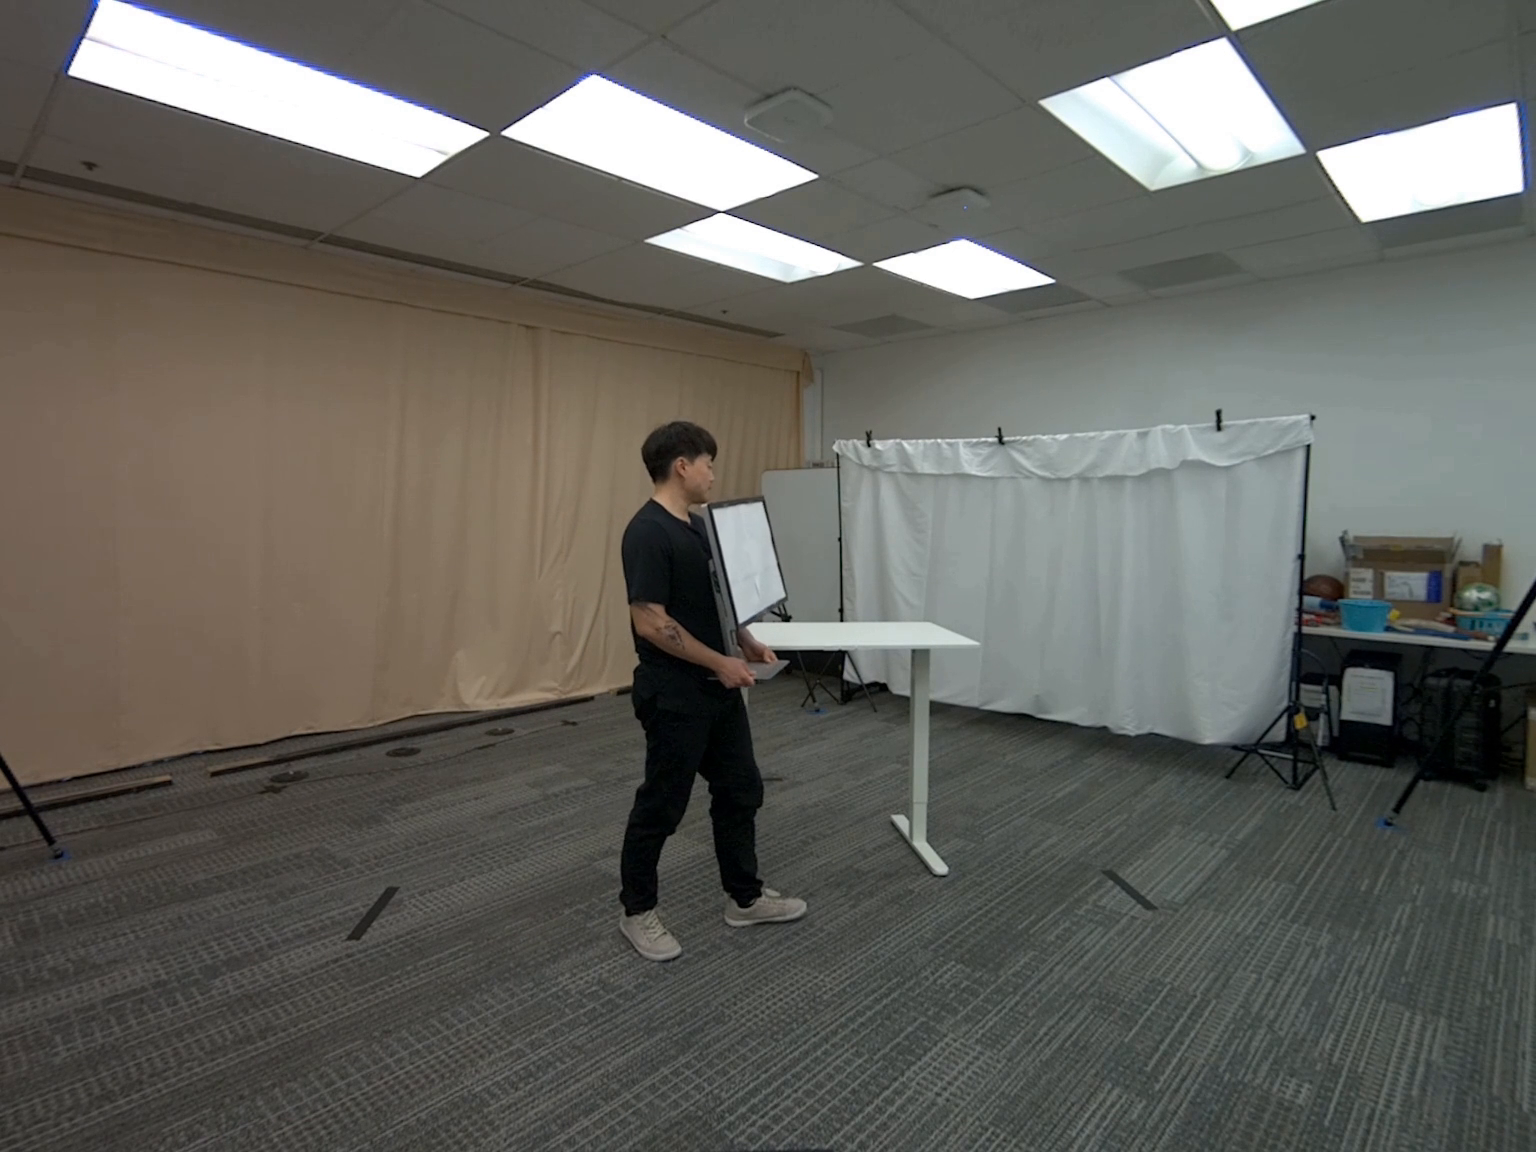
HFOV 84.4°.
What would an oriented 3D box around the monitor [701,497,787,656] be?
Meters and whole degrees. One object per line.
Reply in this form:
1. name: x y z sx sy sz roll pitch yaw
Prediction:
1. monitor: -0.071 0.029 2.598 0.190 0.521 0.532 -2 5 15
